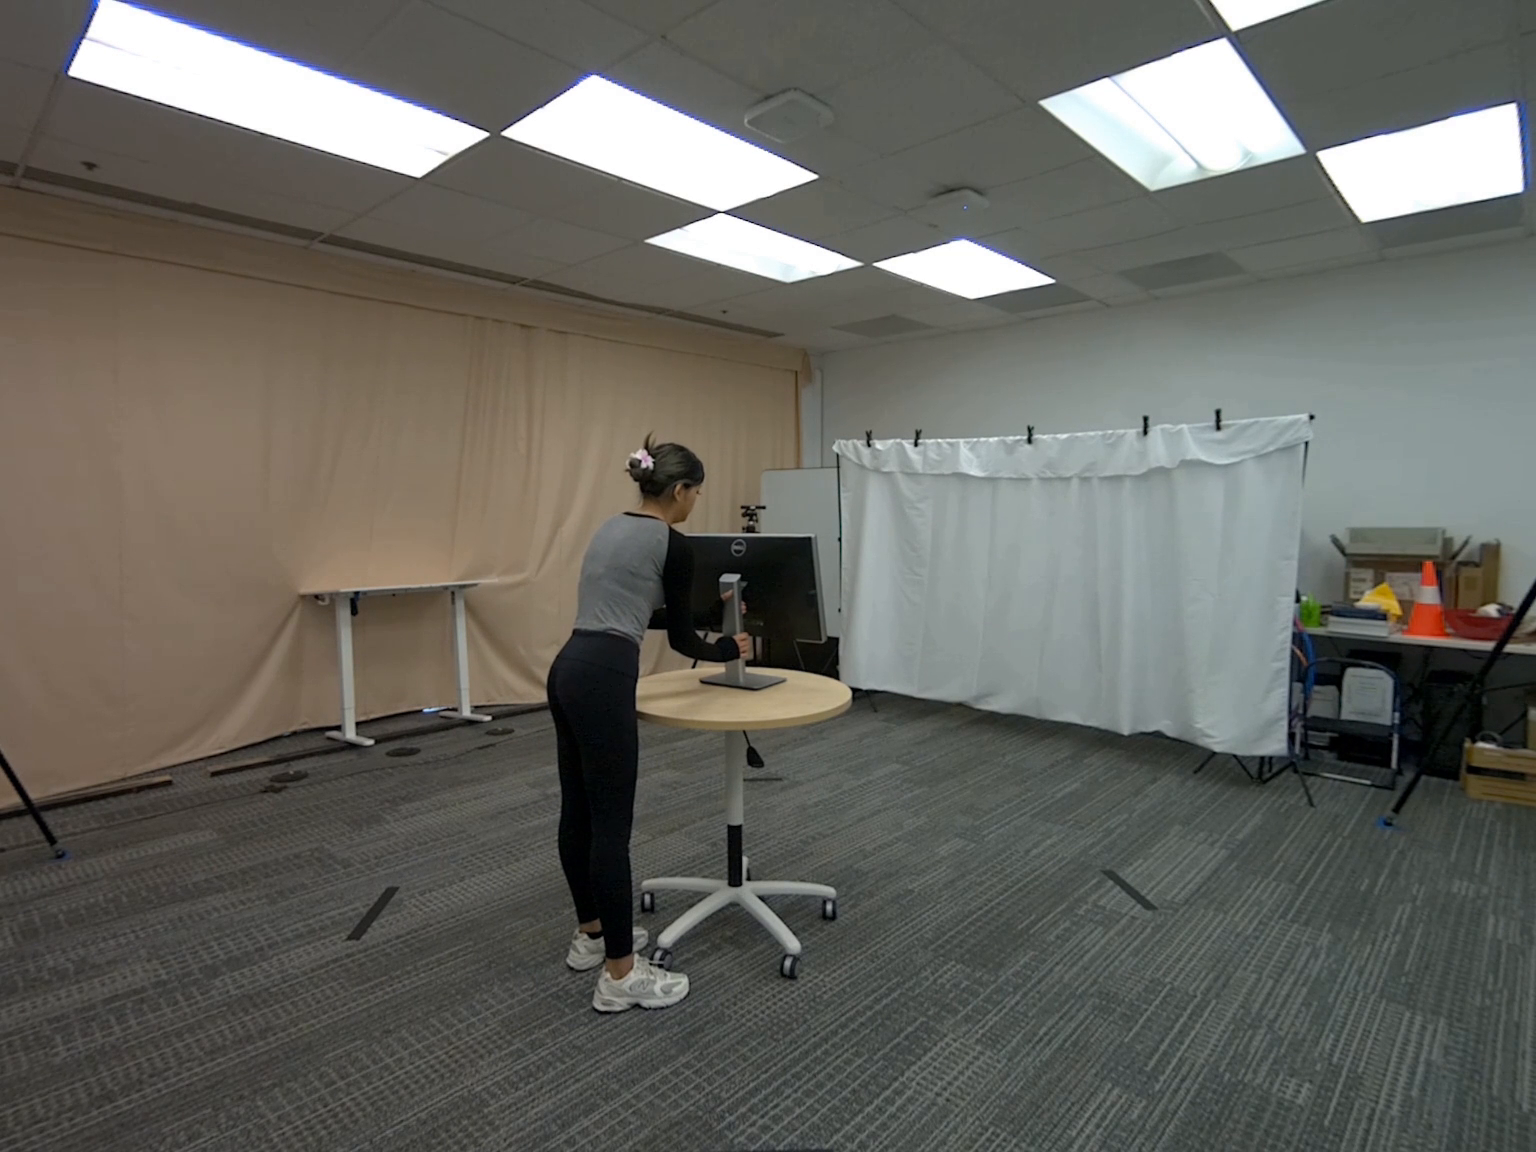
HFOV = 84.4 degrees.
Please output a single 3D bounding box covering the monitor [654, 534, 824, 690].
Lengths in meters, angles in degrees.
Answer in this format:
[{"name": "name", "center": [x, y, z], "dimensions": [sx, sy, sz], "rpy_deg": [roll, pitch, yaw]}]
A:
[{"name": "monitor", "center": [-0.081, 0.116, 2.870], "dimensions": [0.546, 0.517, 0.169], "rpy_deg": [1, -5, 34]}]
